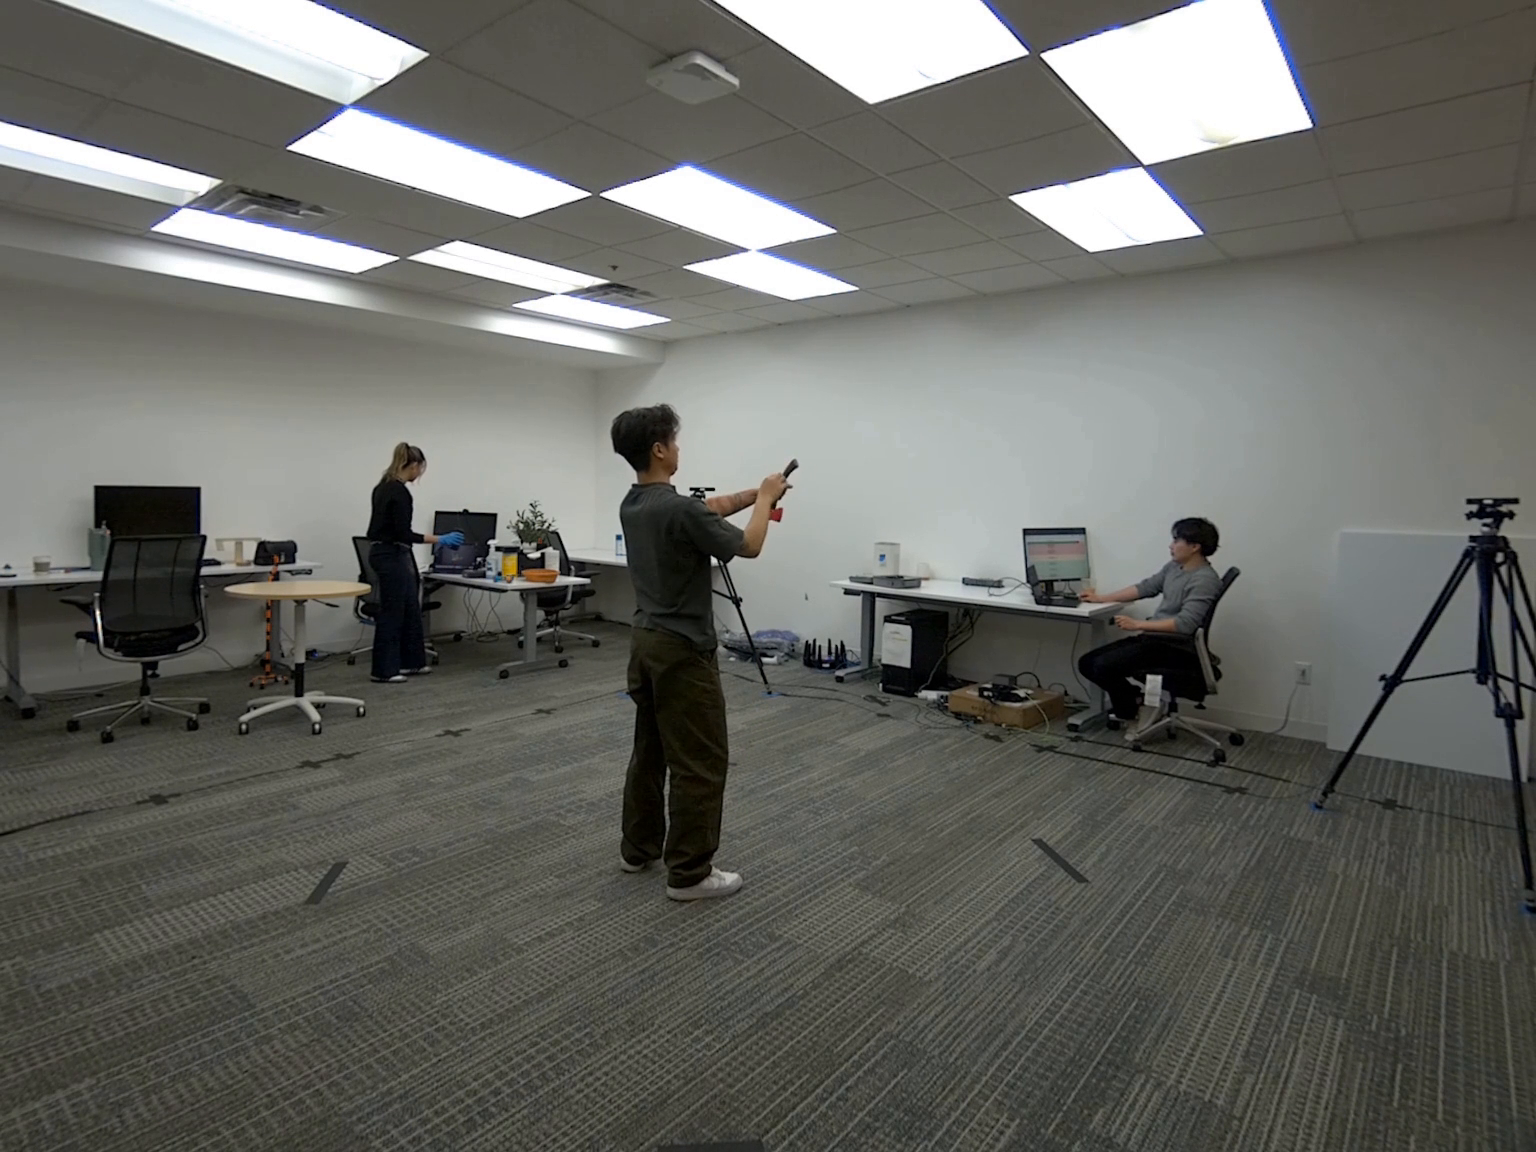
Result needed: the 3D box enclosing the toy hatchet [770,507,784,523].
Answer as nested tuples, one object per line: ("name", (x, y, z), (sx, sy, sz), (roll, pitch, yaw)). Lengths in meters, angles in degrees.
("toy hatchet", (0.049, -0.313, 3.246), (0.029, 0.136, 0.268), (3, -42, -33))
